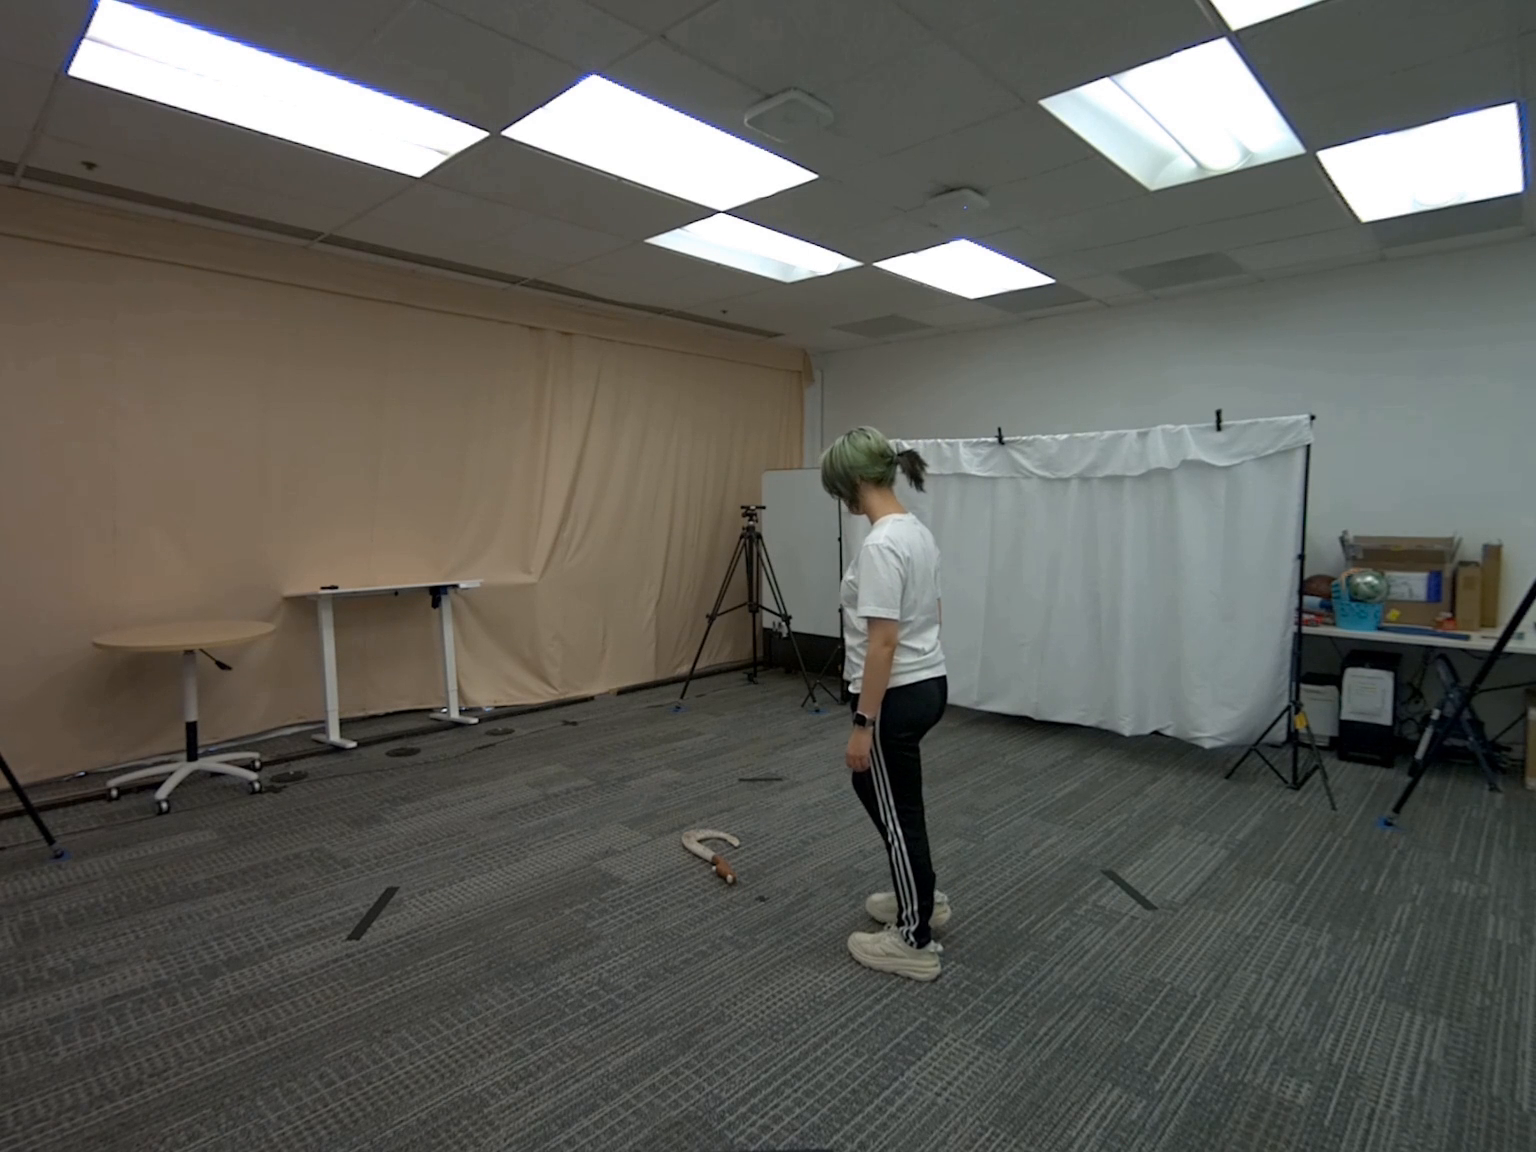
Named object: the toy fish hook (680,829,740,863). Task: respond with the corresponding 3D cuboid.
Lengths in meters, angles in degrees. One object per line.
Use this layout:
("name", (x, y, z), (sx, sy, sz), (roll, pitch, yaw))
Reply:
("toy fish hook", (-0.180, 1.092, 3.324), (0.220, 0.048, 0.519), (-3, 6, -23))
